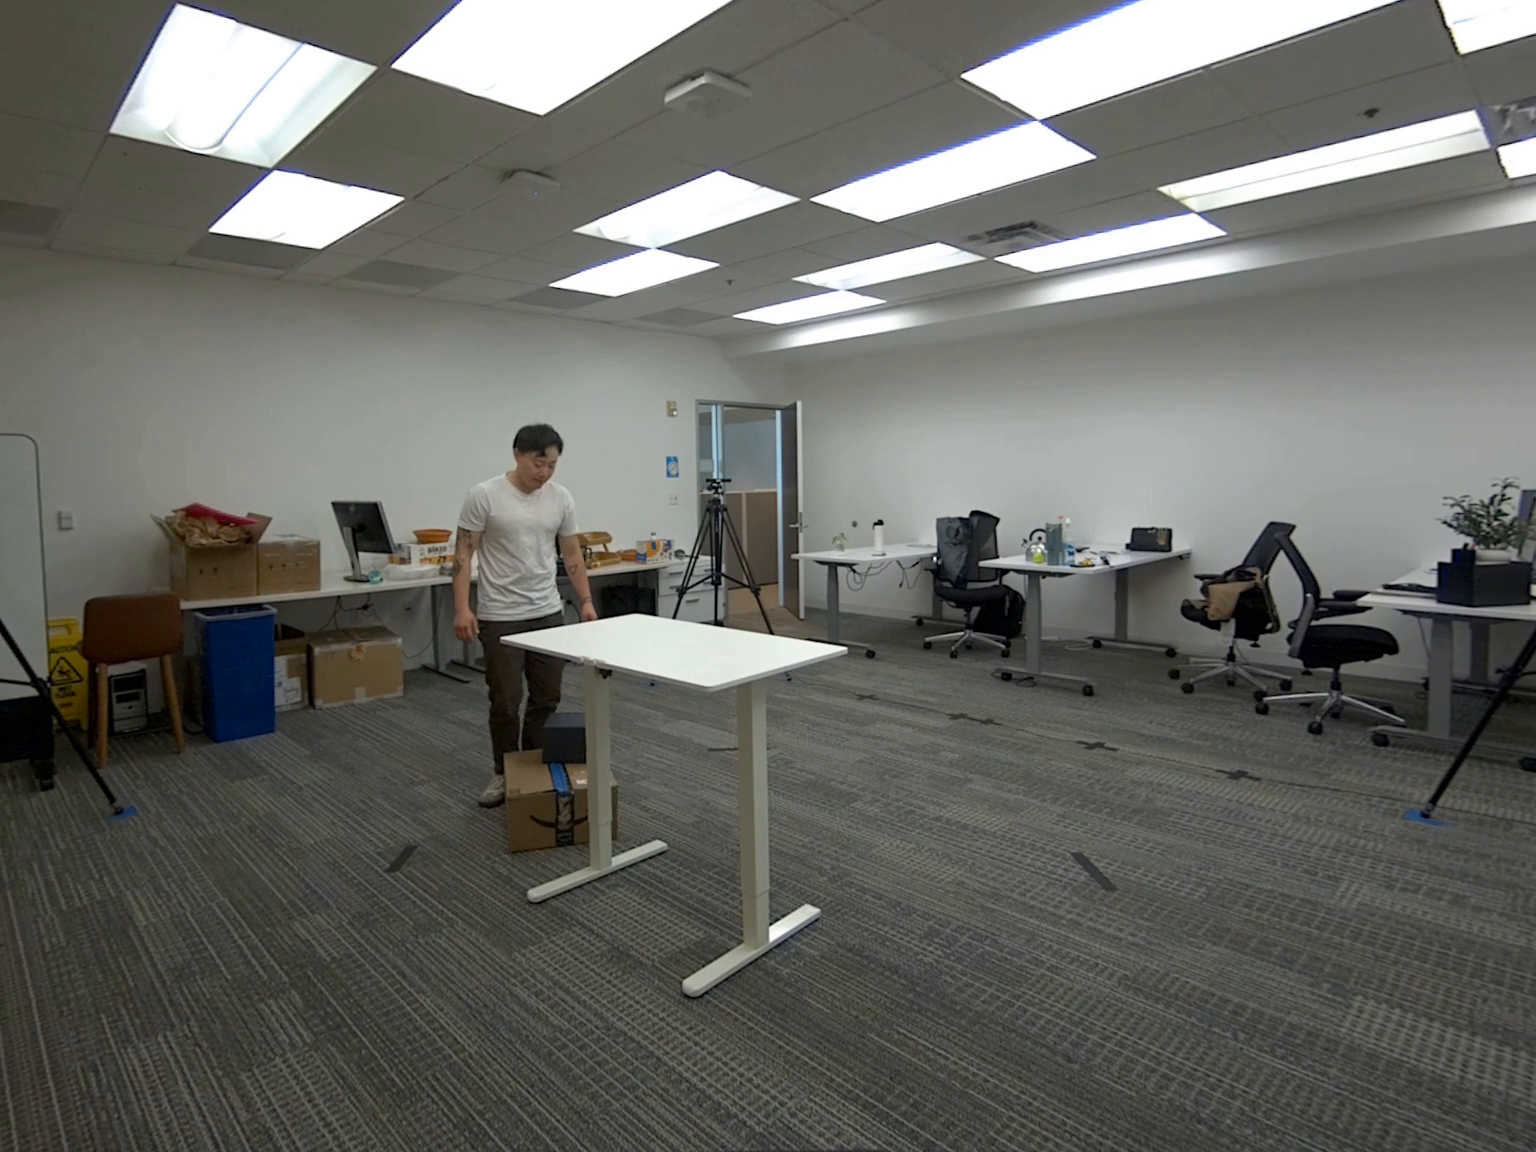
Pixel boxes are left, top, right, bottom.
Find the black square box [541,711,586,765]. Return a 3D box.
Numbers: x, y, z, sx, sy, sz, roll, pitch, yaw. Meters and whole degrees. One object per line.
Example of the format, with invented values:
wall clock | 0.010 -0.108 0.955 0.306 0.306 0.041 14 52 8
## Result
black square box | -0.848 0.693 3.684 0.216 0.155 0.230 0 5 -6
